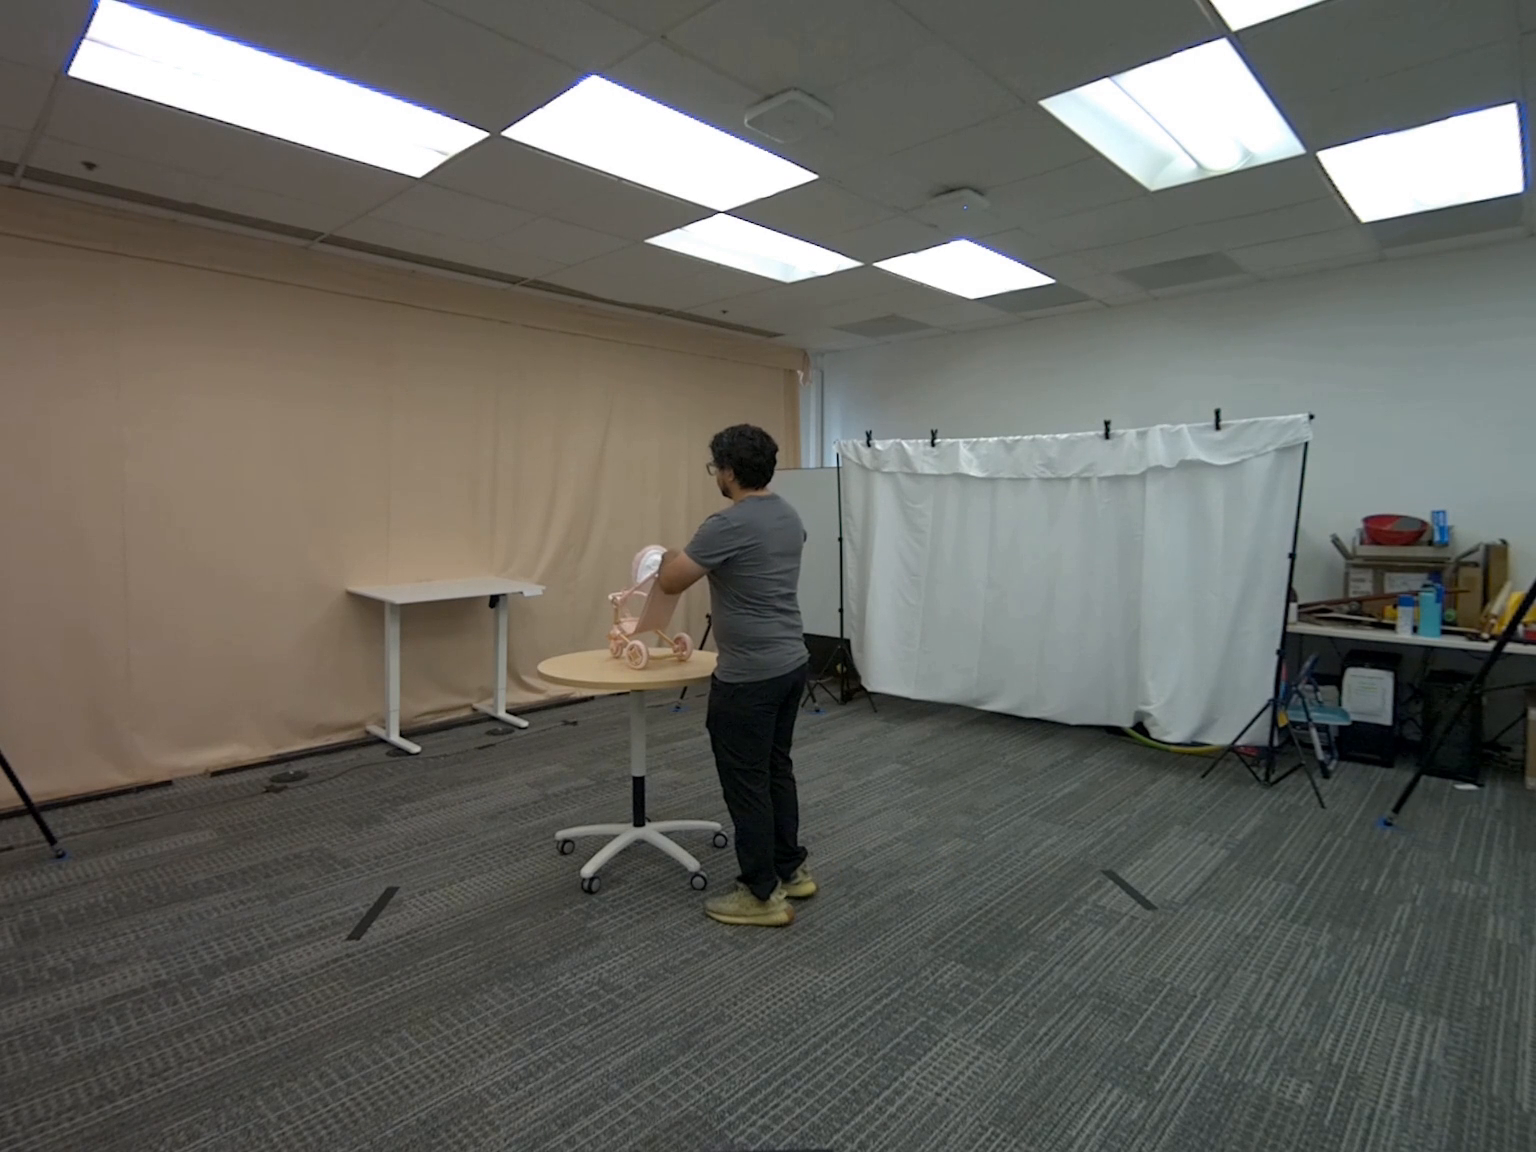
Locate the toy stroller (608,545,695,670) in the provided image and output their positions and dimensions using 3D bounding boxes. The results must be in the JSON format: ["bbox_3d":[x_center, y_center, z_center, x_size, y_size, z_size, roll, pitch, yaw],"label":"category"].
[{"bbox_3d":[-0.459,0.118,3.277,0.354,0.532,0.272,24,17,41],"label":"toy stroller"}]
